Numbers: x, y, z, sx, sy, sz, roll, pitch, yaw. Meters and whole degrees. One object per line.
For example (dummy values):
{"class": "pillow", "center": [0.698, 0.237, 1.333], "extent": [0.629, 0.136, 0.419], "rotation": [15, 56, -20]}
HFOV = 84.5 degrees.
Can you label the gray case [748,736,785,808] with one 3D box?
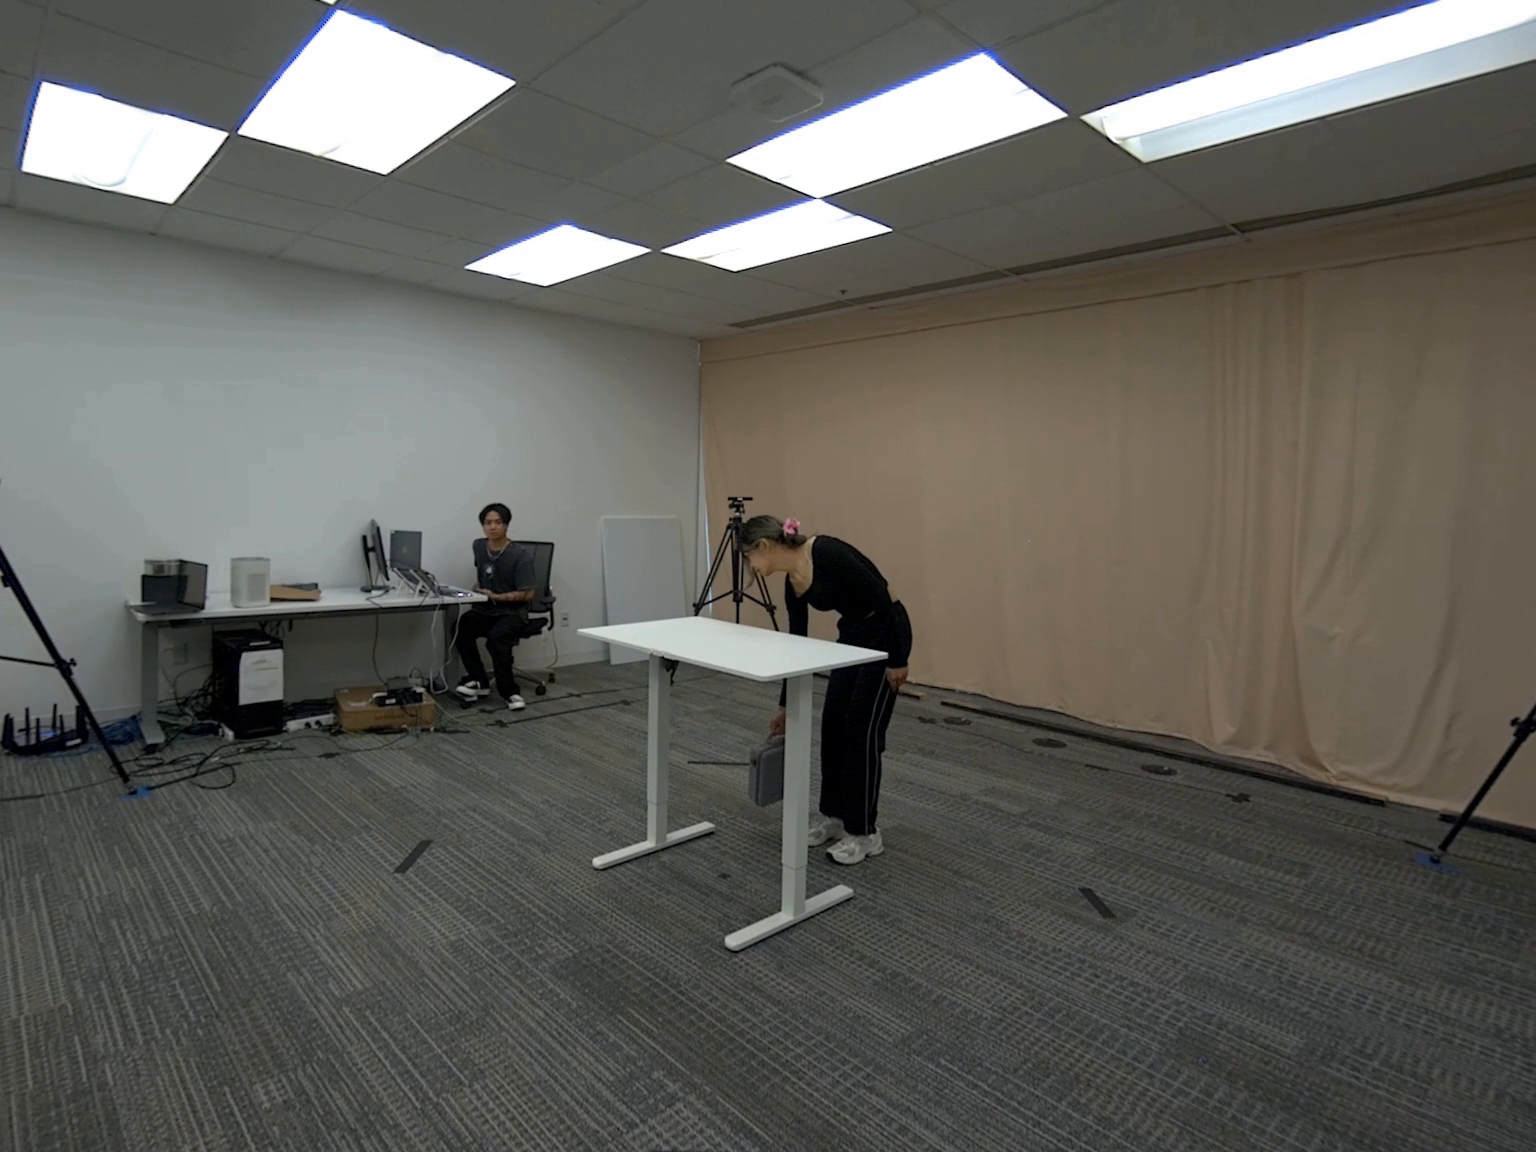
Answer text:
{"class": "gray case", "center": [0.035, 0.800, 3.530], "extent": [0.252, 0.258, 0.107], "rotation": [-8, 15, -35]}
